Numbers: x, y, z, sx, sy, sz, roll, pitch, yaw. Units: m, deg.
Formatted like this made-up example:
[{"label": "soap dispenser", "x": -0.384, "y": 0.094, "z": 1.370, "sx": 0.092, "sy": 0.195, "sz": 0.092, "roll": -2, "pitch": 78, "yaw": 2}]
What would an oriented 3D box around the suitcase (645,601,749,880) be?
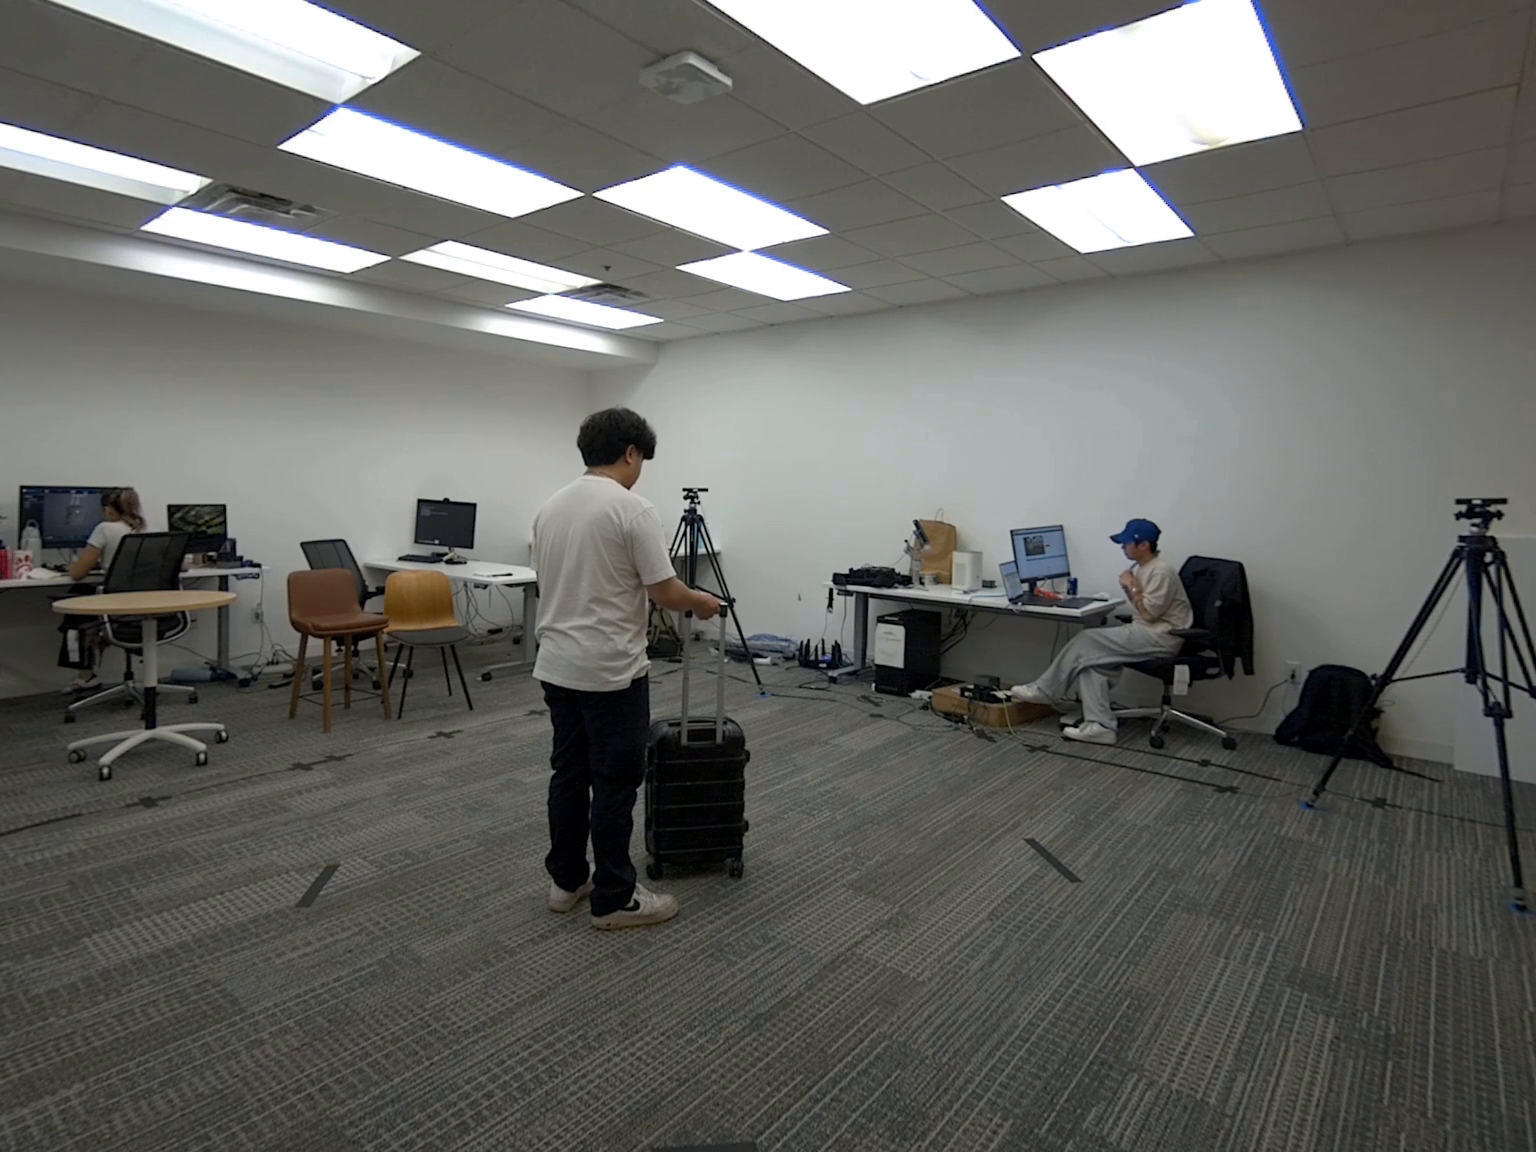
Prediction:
[{"label": "suitcase", "x": -0.276, "y": 0.592, "z": 3.135, "sx": 0.379, "sy": 0.977, "sz": 0.261, "roll": 1, "pitch": 1, "yaw": -12}]
